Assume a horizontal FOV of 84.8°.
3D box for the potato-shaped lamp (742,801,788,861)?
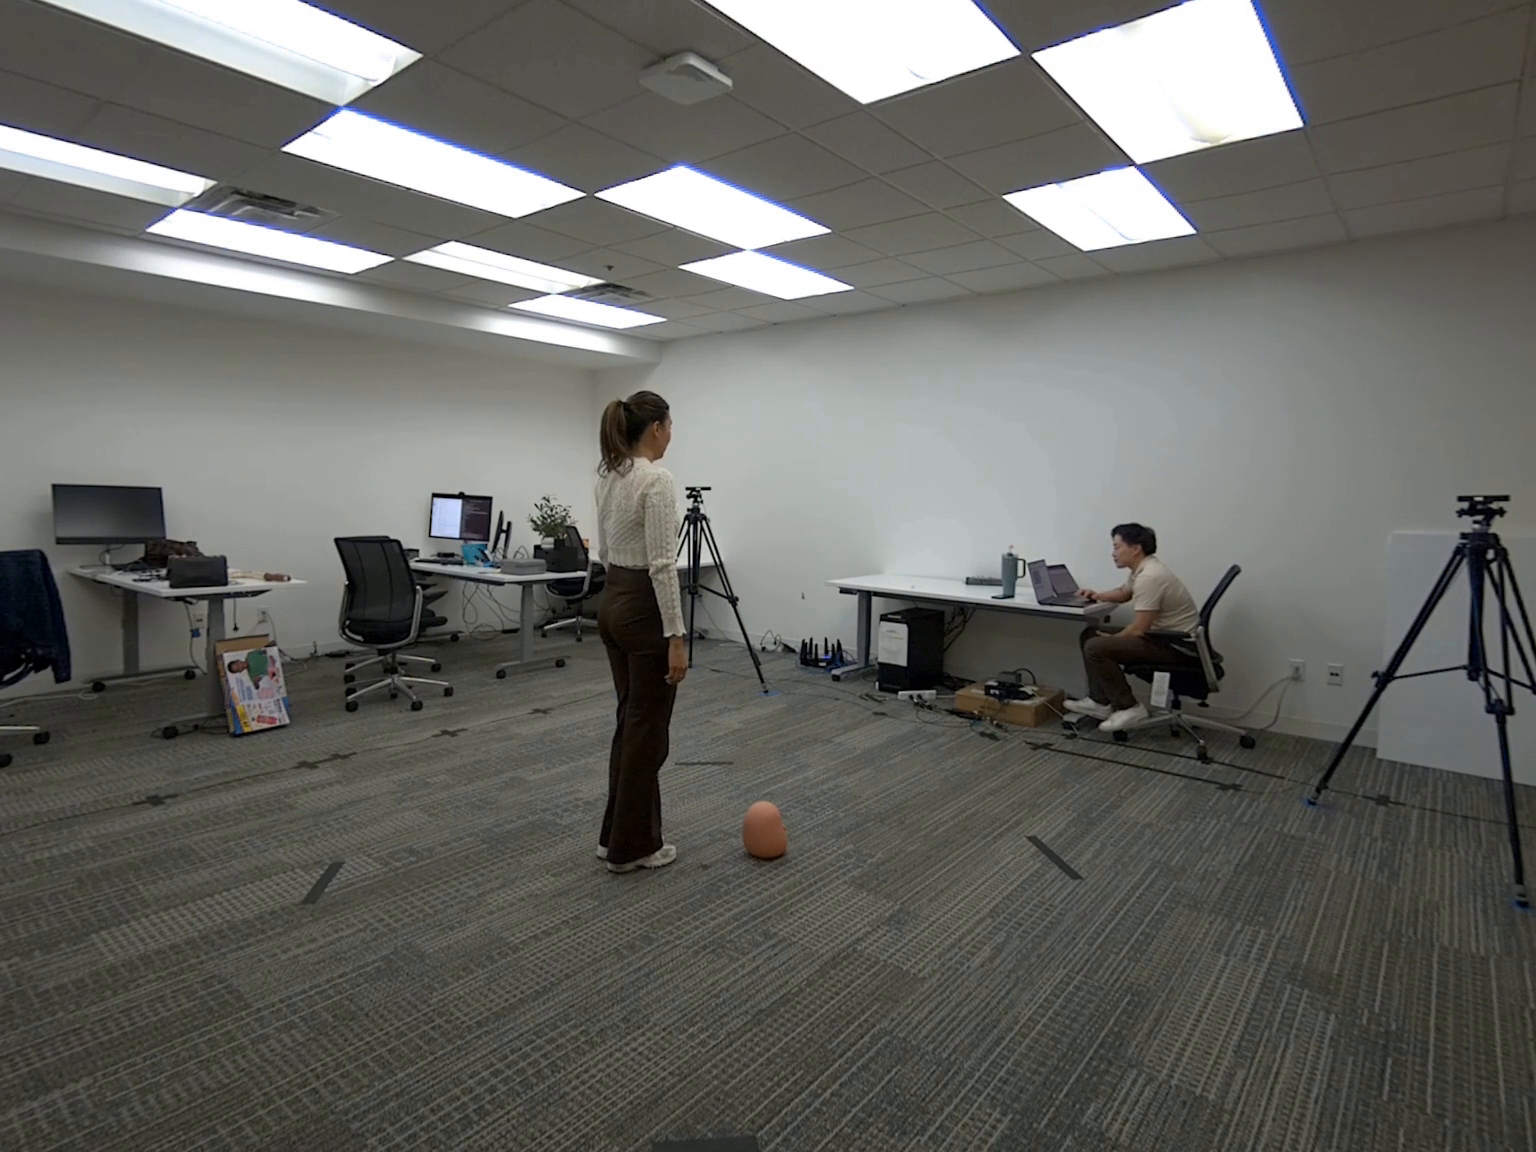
[{"bbox_3d":[-0.022,0.958,3.237,0.166,0.197,0.170,-2,5,-38],"label":"potato-shaped lamp"}]
